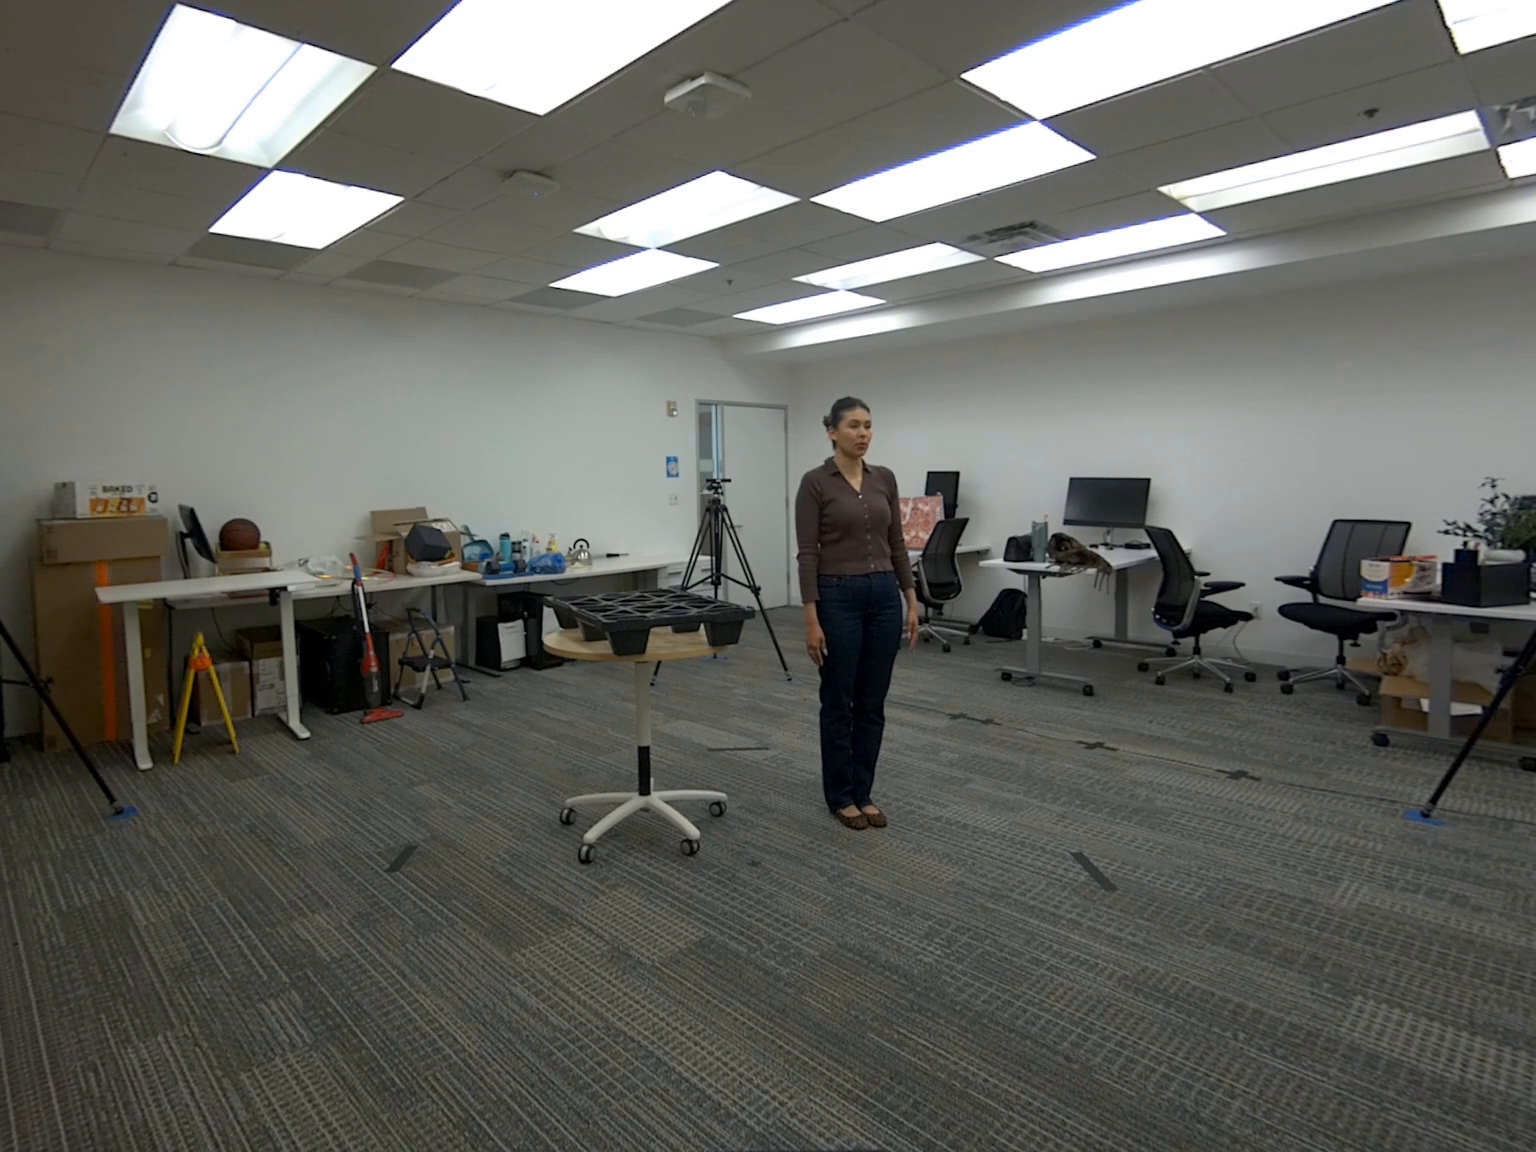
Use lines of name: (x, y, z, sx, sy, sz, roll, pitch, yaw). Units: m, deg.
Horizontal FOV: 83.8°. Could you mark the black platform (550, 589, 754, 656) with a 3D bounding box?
black platform: (-0.503, 0.174, 3.391, 0.591, 0.143, 0.827, -3, 6, -29)
